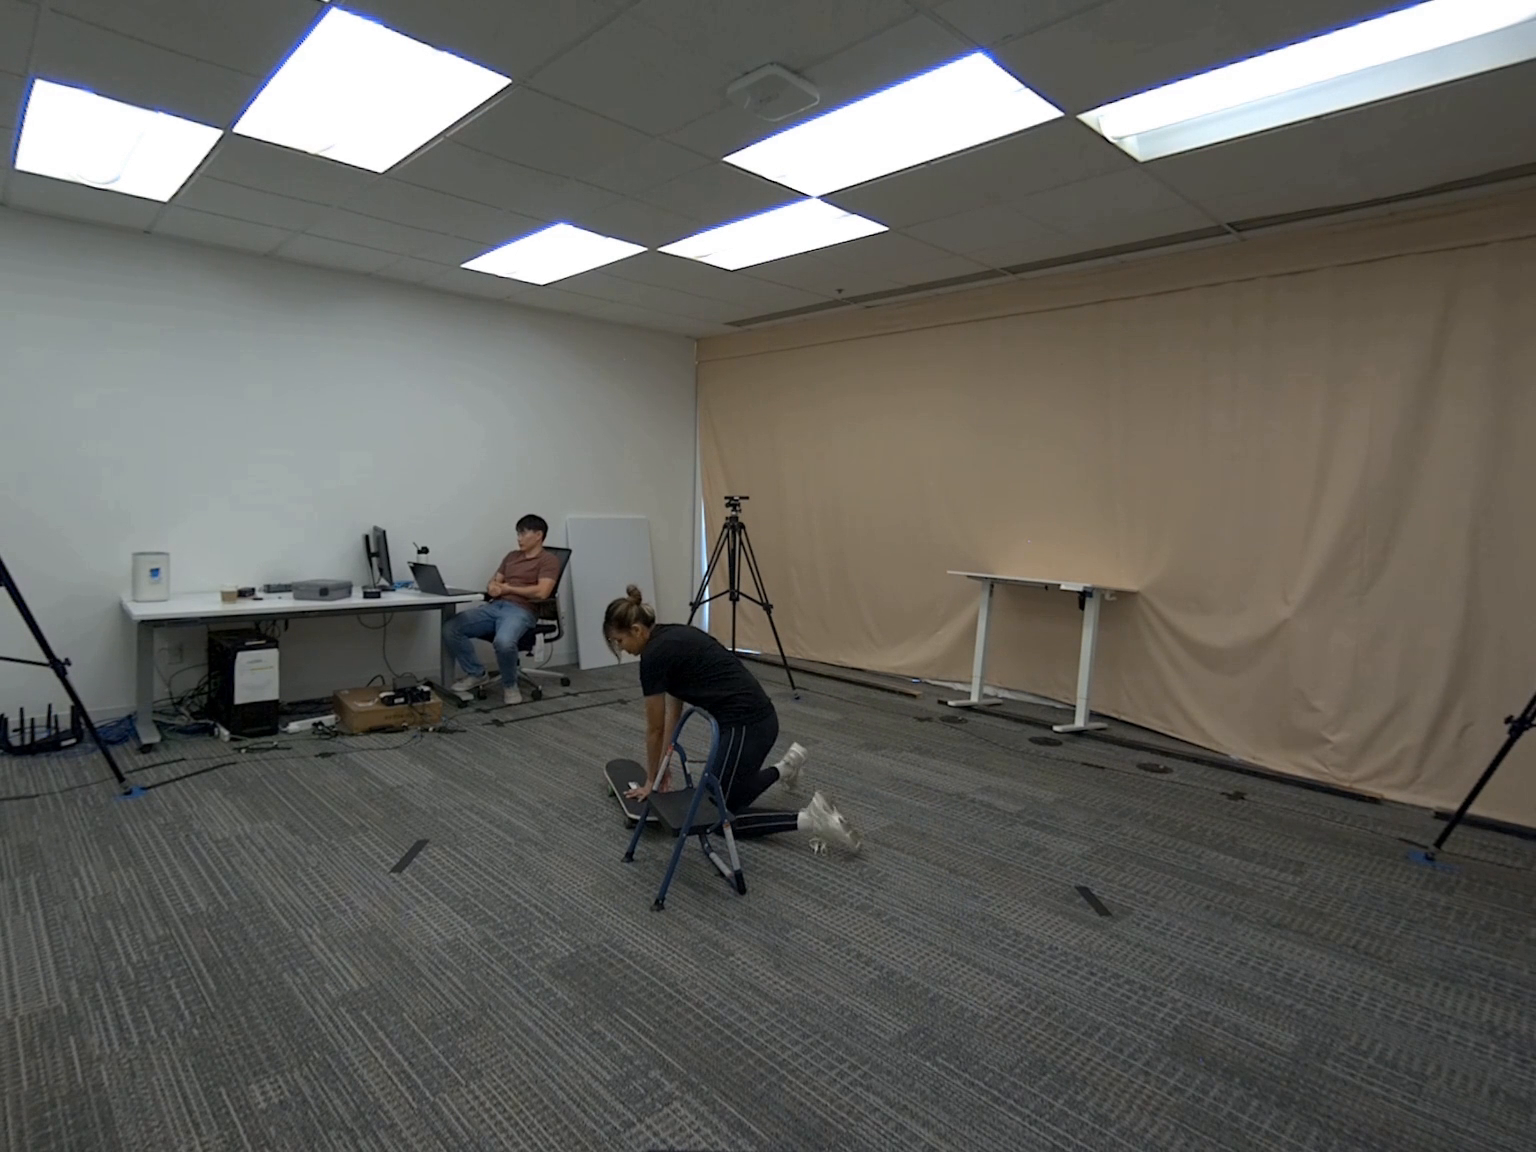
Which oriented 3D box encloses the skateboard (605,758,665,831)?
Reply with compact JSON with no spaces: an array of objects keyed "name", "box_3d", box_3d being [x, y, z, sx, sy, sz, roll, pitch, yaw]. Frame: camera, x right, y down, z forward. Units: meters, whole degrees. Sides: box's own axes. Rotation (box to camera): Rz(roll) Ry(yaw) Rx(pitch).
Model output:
[{"name":"skateboard","box_3d":[-0.592,0.980,3.741,0.190,0.110,0.799,3,4,-20]}]
